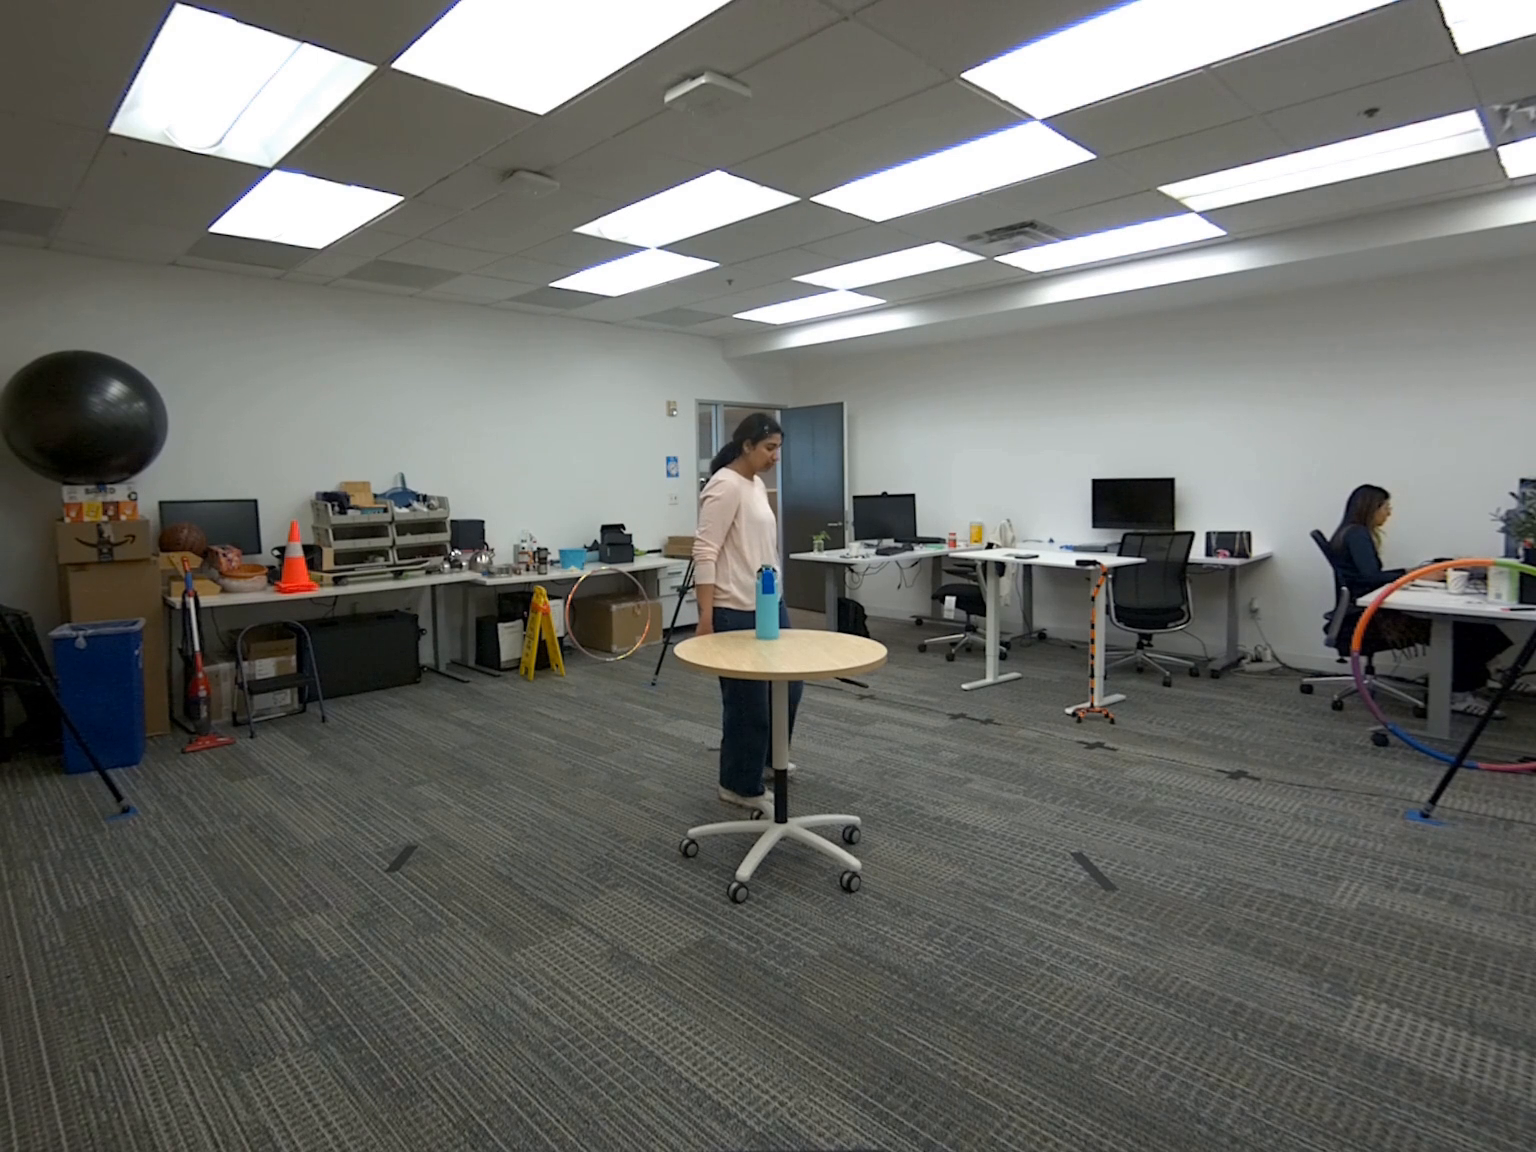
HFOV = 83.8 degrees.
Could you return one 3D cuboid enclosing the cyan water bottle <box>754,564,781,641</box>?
[{"bbox_3d":[-0.004,0.100,3.284,0.092,0.282,0.093,-1,5,-2],"label":"cyan water bottle"}]
